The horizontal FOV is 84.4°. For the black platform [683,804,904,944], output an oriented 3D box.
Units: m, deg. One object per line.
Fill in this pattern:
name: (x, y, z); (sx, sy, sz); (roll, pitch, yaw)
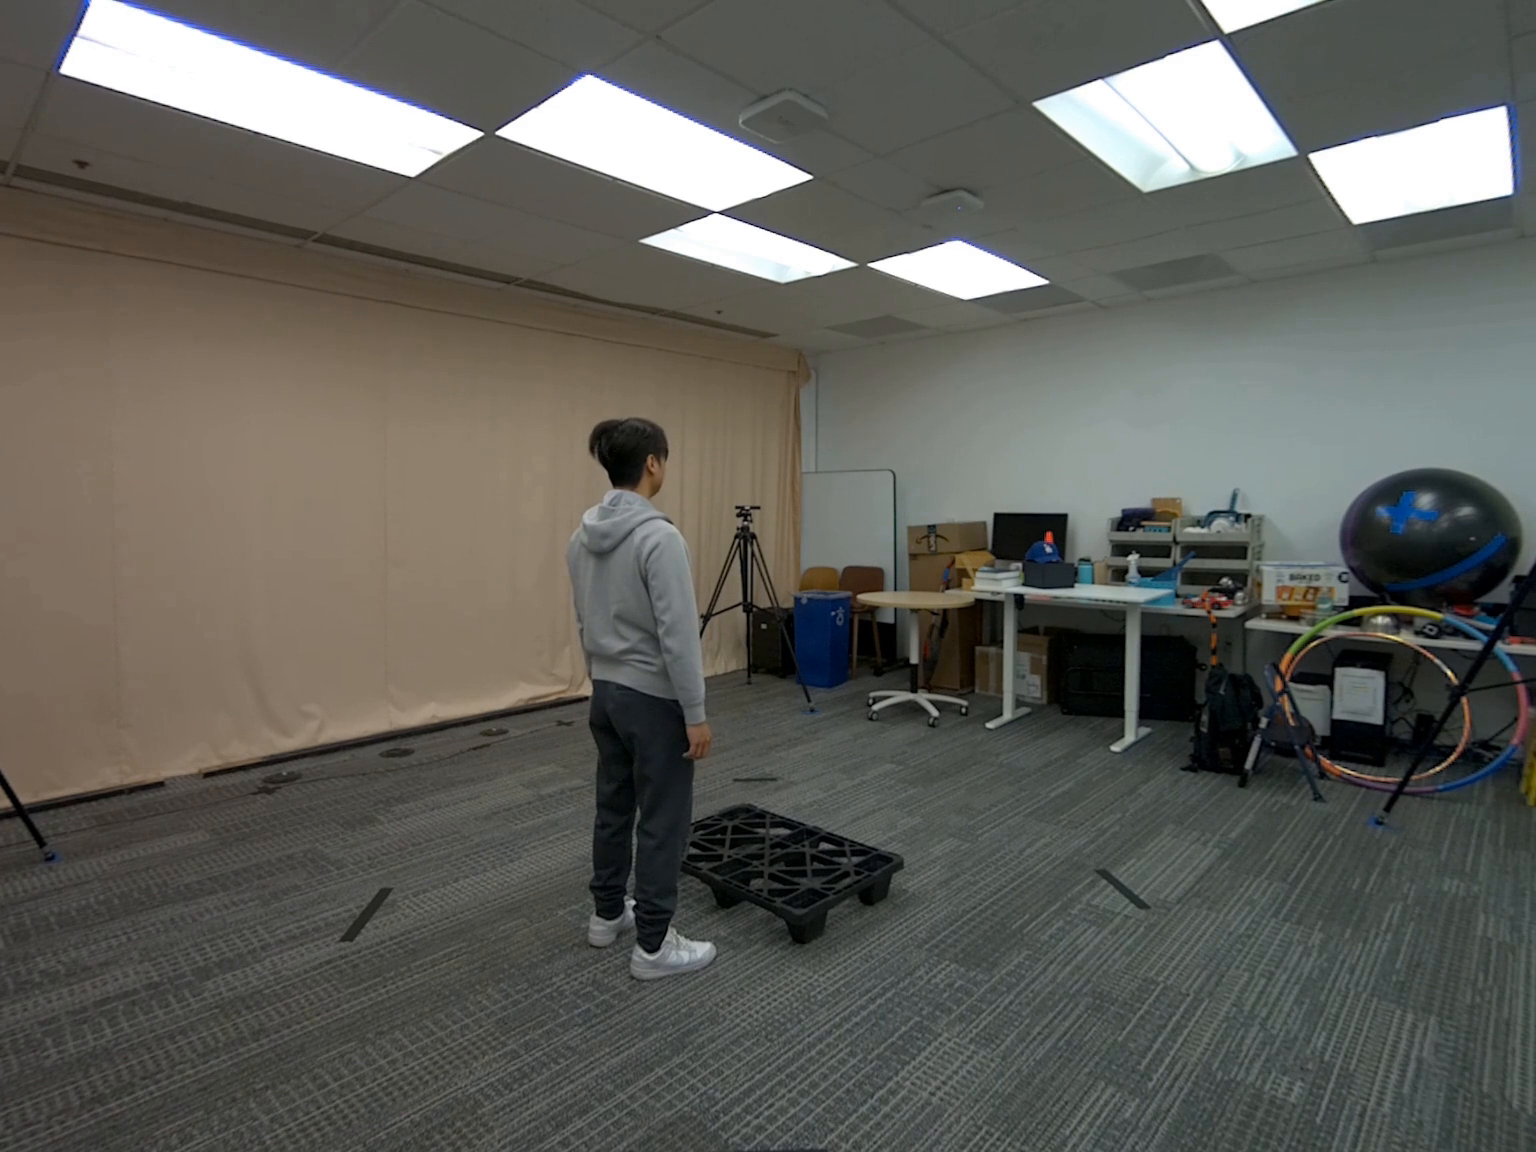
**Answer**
black platform: (0.001, 1.071, 3.079); (0.832, 0.143, 0.587); (4, 7, 43)
